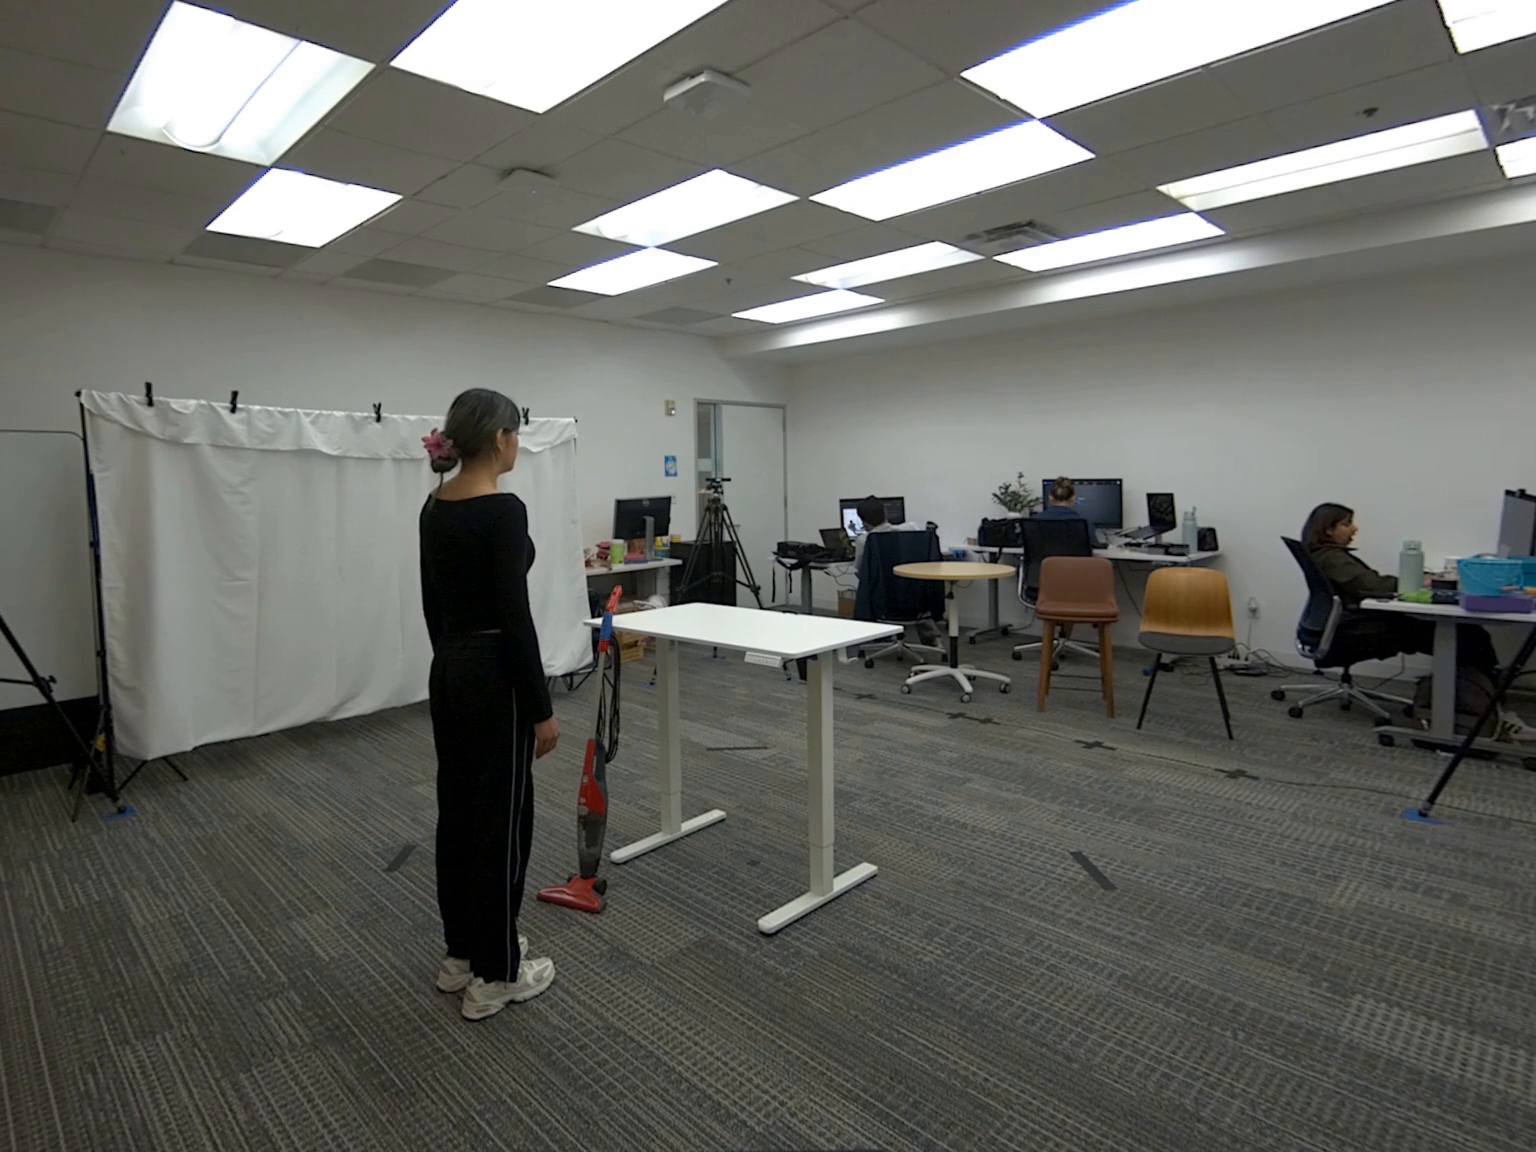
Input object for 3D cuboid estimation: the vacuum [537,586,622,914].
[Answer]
[{"bbox_3d":[-0.585,0.572,2.977,0.259,1.059,0.139,0,-13,28],"label":"vacuum"}]
